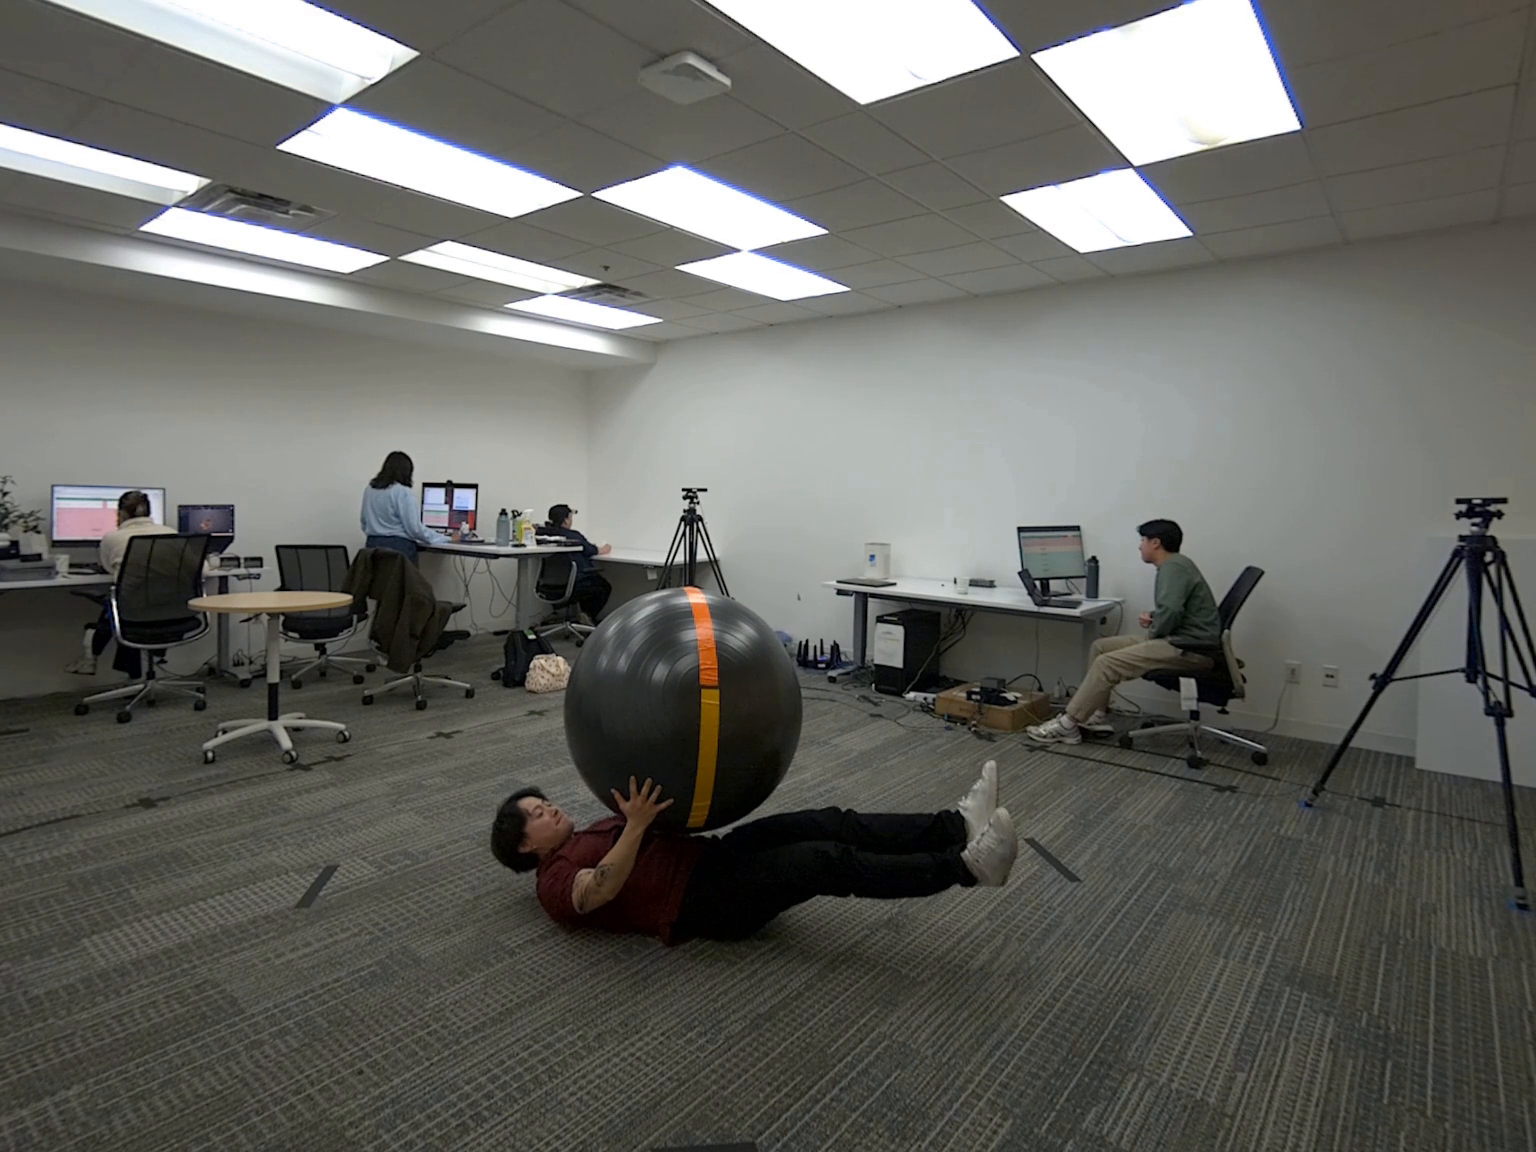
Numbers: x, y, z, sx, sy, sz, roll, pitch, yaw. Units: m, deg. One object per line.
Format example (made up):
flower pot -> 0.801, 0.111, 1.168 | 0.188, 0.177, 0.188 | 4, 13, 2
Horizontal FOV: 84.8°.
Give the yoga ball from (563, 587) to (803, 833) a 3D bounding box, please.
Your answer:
yoga ball -> -0.275, 0.419, 2.708 | 0.757, 0.755, 0.762 | 1, 4, -2
